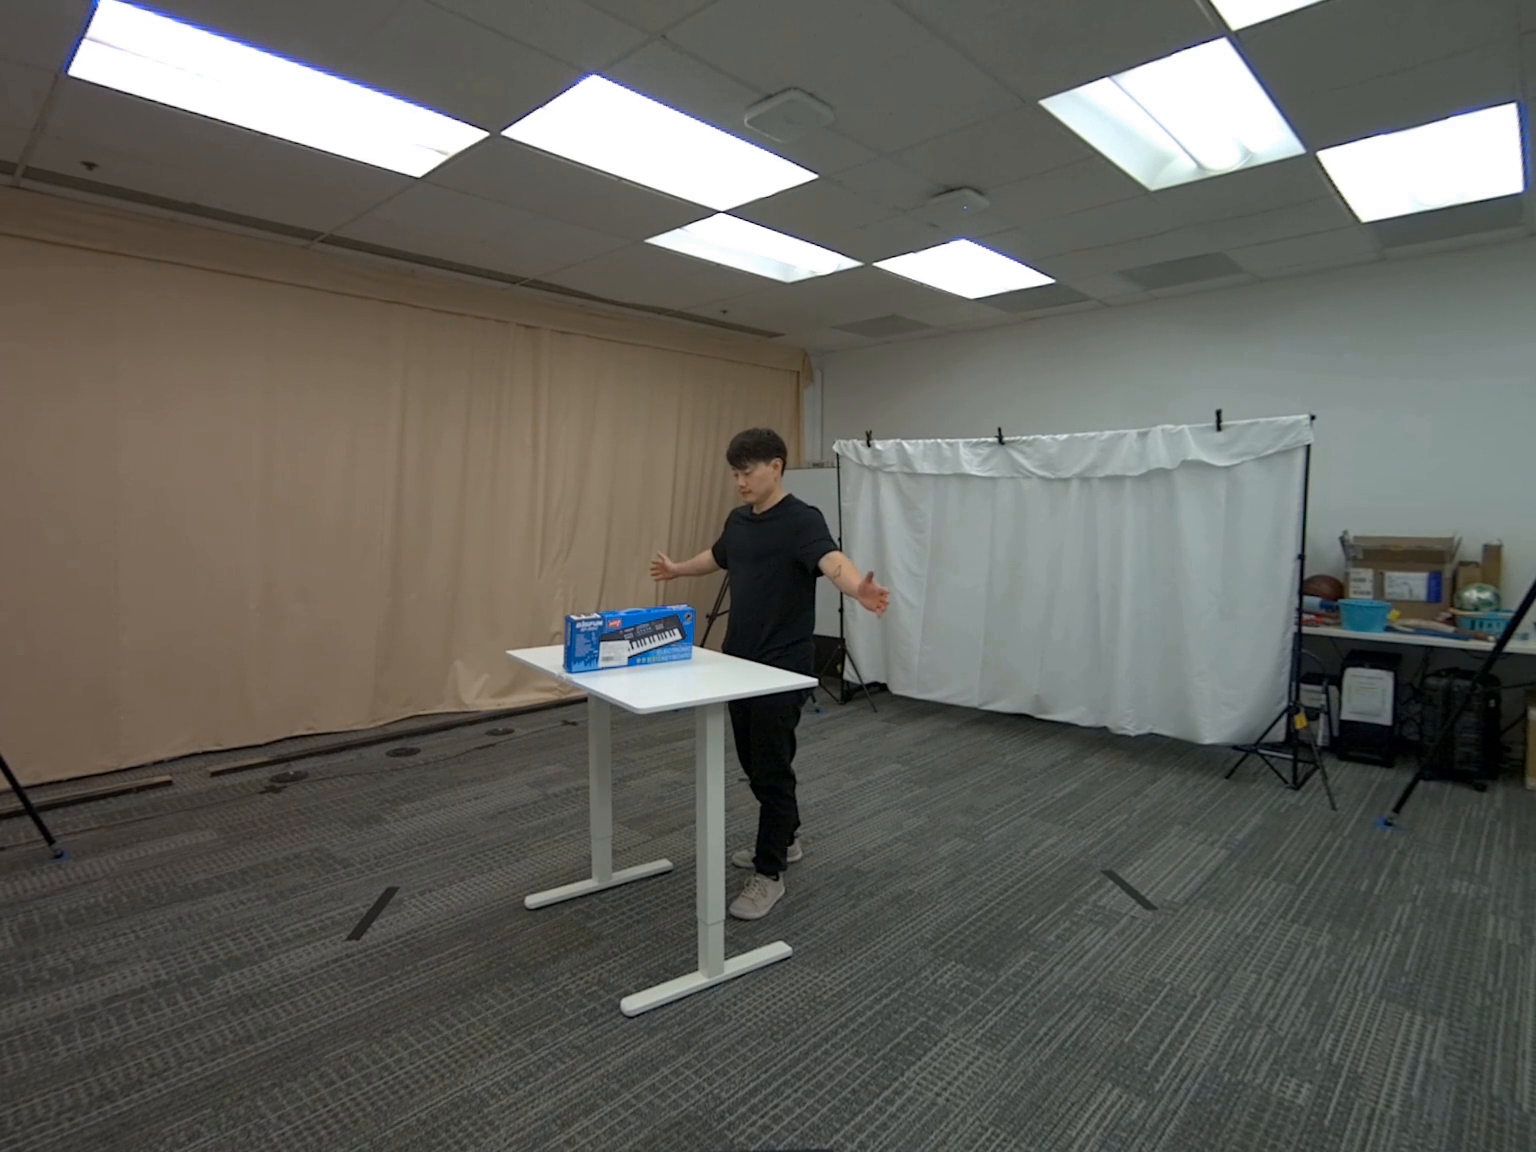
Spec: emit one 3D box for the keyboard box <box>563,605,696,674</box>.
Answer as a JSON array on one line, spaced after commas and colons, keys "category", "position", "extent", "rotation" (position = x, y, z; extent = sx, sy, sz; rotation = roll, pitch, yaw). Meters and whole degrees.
[{"category": "keyboard box", "position": [-0.438, 0.201, 2.698], "extent": [0.425, 0.175, 0.061], "rotation": [-4, 12, -32]}]
